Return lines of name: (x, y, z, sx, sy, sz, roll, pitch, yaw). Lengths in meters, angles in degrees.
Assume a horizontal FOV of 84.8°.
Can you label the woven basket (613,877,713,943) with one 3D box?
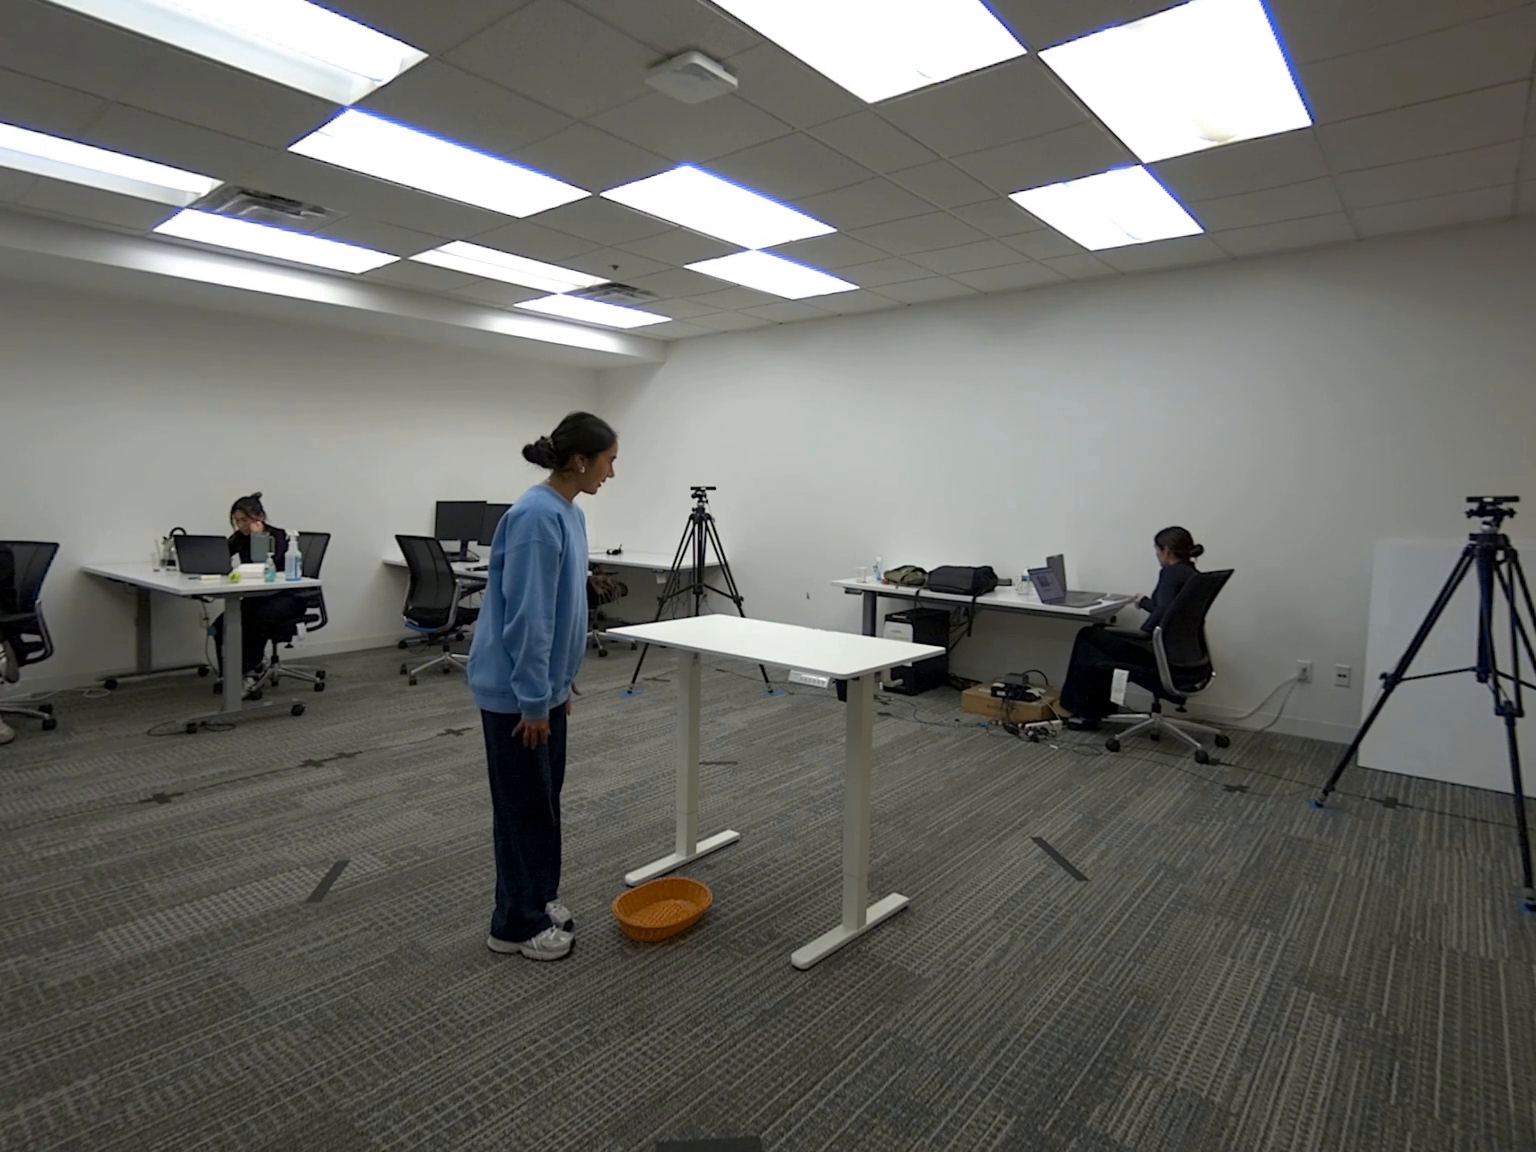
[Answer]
woven basket: (-0.336, 1.062, 2.715, 0.261, 0.073, 0.340, 8, 8, 43)
